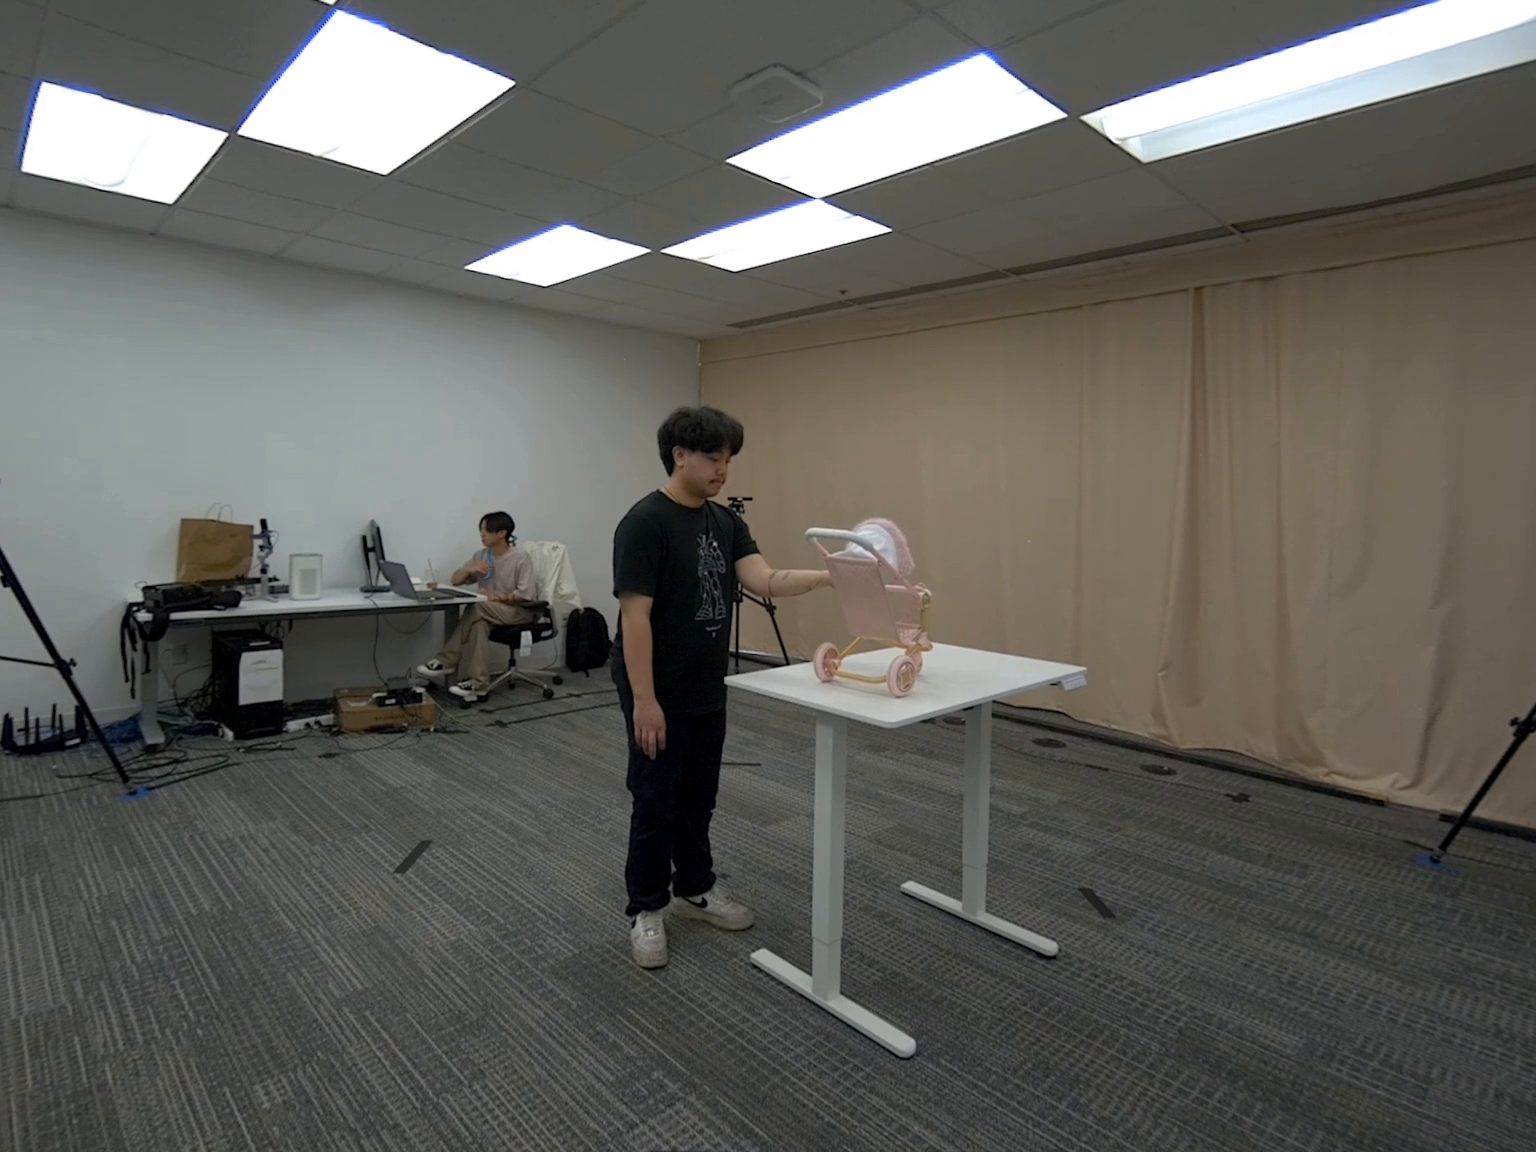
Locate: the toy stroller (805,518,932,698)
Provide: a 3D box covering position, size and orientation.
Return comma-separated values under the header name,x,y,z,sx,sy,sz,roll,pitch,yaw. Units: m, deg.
name,x,y,z,sx,sy,sz,roll,pitch,yaw
toy stroller,0.306,0.082,2.334,0.336,0.529,0.288,-21,17,-39
